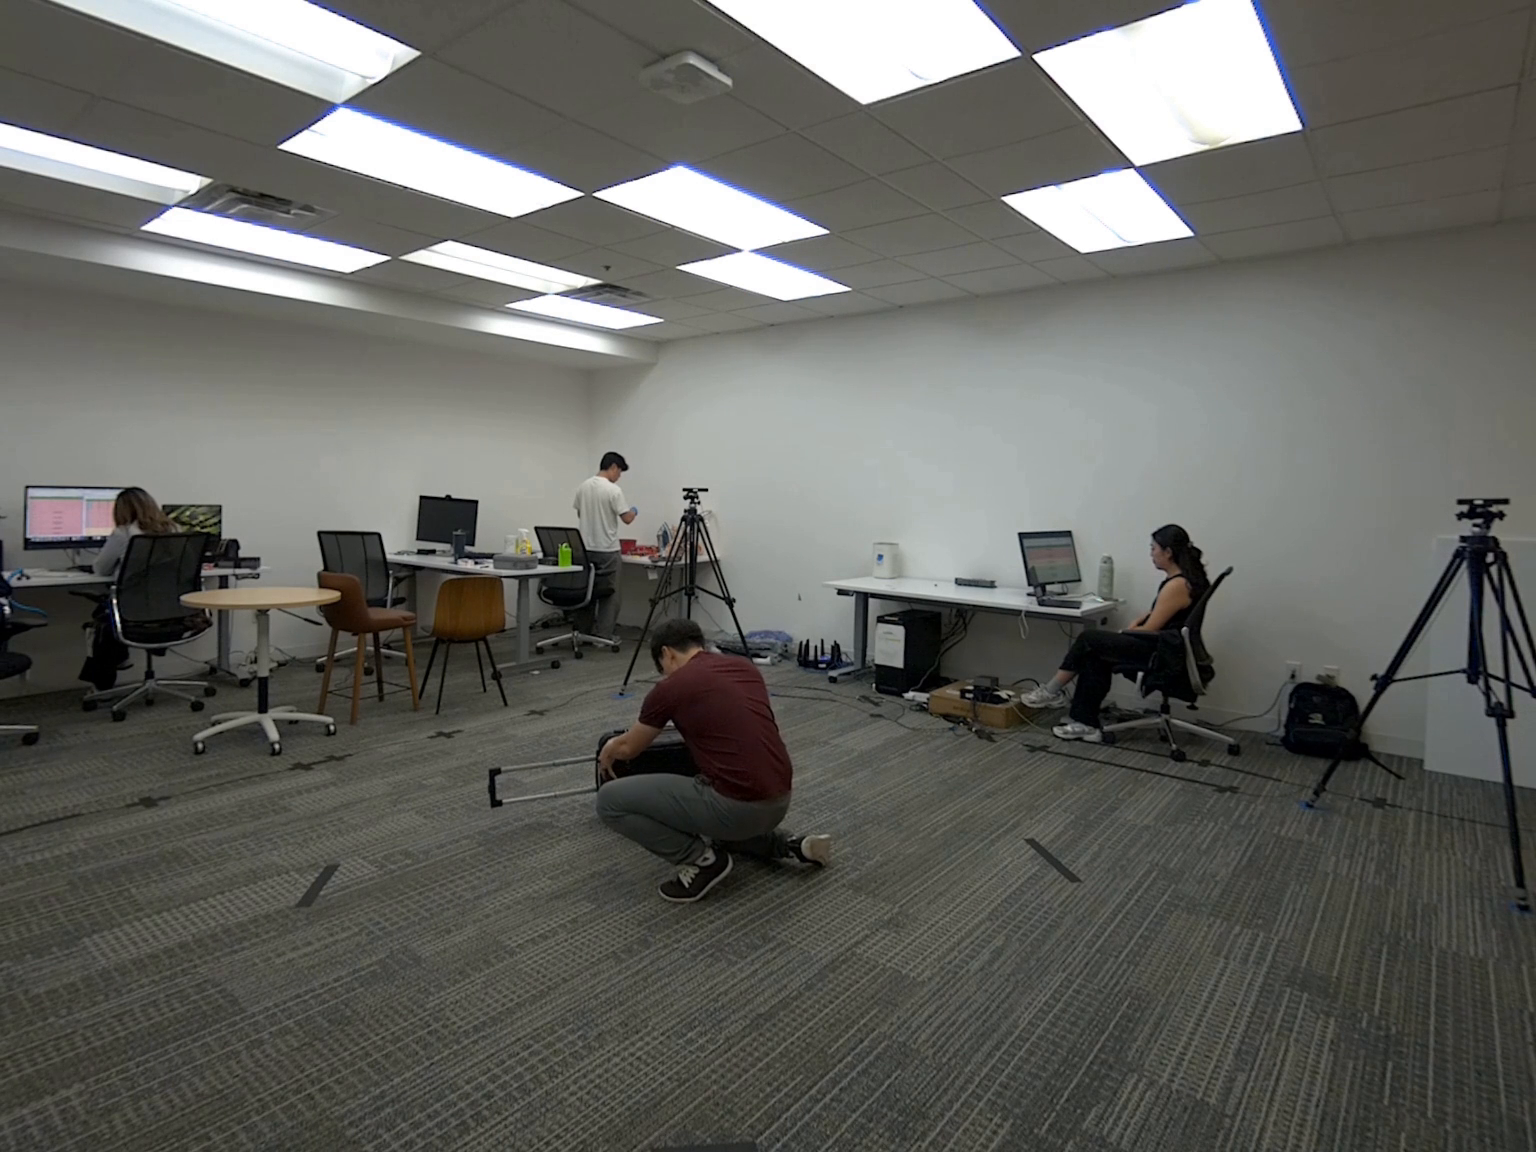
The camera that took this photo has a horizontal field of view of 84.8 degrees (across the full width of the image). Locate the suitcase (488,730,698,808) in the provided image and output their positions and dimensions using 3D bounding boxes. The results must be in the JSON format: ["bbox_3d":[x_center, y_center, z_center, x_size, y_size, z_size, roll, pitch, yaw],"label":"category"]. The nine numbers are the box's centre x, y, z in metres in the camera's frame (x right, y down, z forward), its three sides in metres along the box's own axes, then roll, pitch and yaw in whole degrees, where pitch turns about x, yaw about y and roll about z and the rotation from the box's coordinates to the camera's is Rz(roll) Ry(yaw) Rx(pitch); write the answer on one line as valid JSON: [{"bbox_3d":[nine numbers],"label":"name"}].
[{"bbox_3d":[-0.645,0.833,3.518,0.958,0.384,0.262,-2,1,-21],"label":"suitcase"}]
